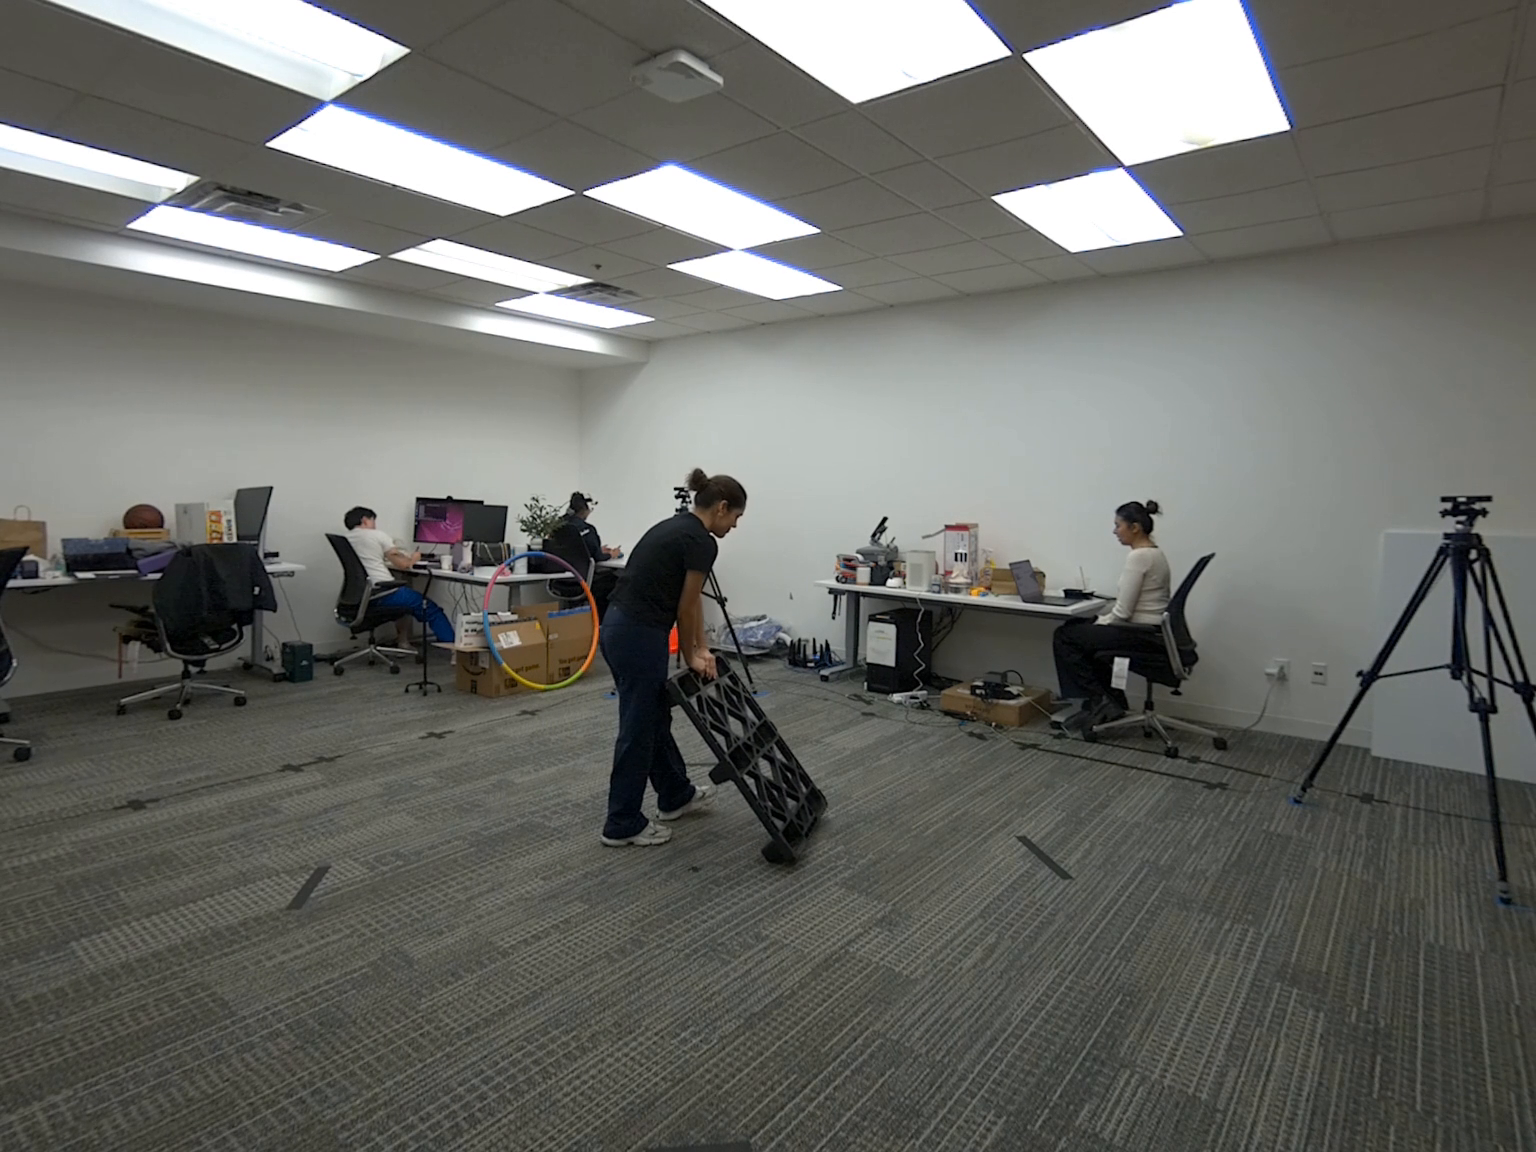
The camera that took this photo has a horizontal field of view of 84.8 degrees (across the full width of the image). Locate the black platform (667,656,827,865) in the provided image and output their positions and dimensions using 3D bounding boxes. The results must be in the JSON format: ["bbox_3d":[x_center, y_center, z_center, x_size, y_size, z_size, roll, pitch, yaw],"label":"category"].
[{"bbox_3d":[-0.083,0.713,3.437,0.144,0.816,0.595,-39,-9,17],"label":"black platform"}]
